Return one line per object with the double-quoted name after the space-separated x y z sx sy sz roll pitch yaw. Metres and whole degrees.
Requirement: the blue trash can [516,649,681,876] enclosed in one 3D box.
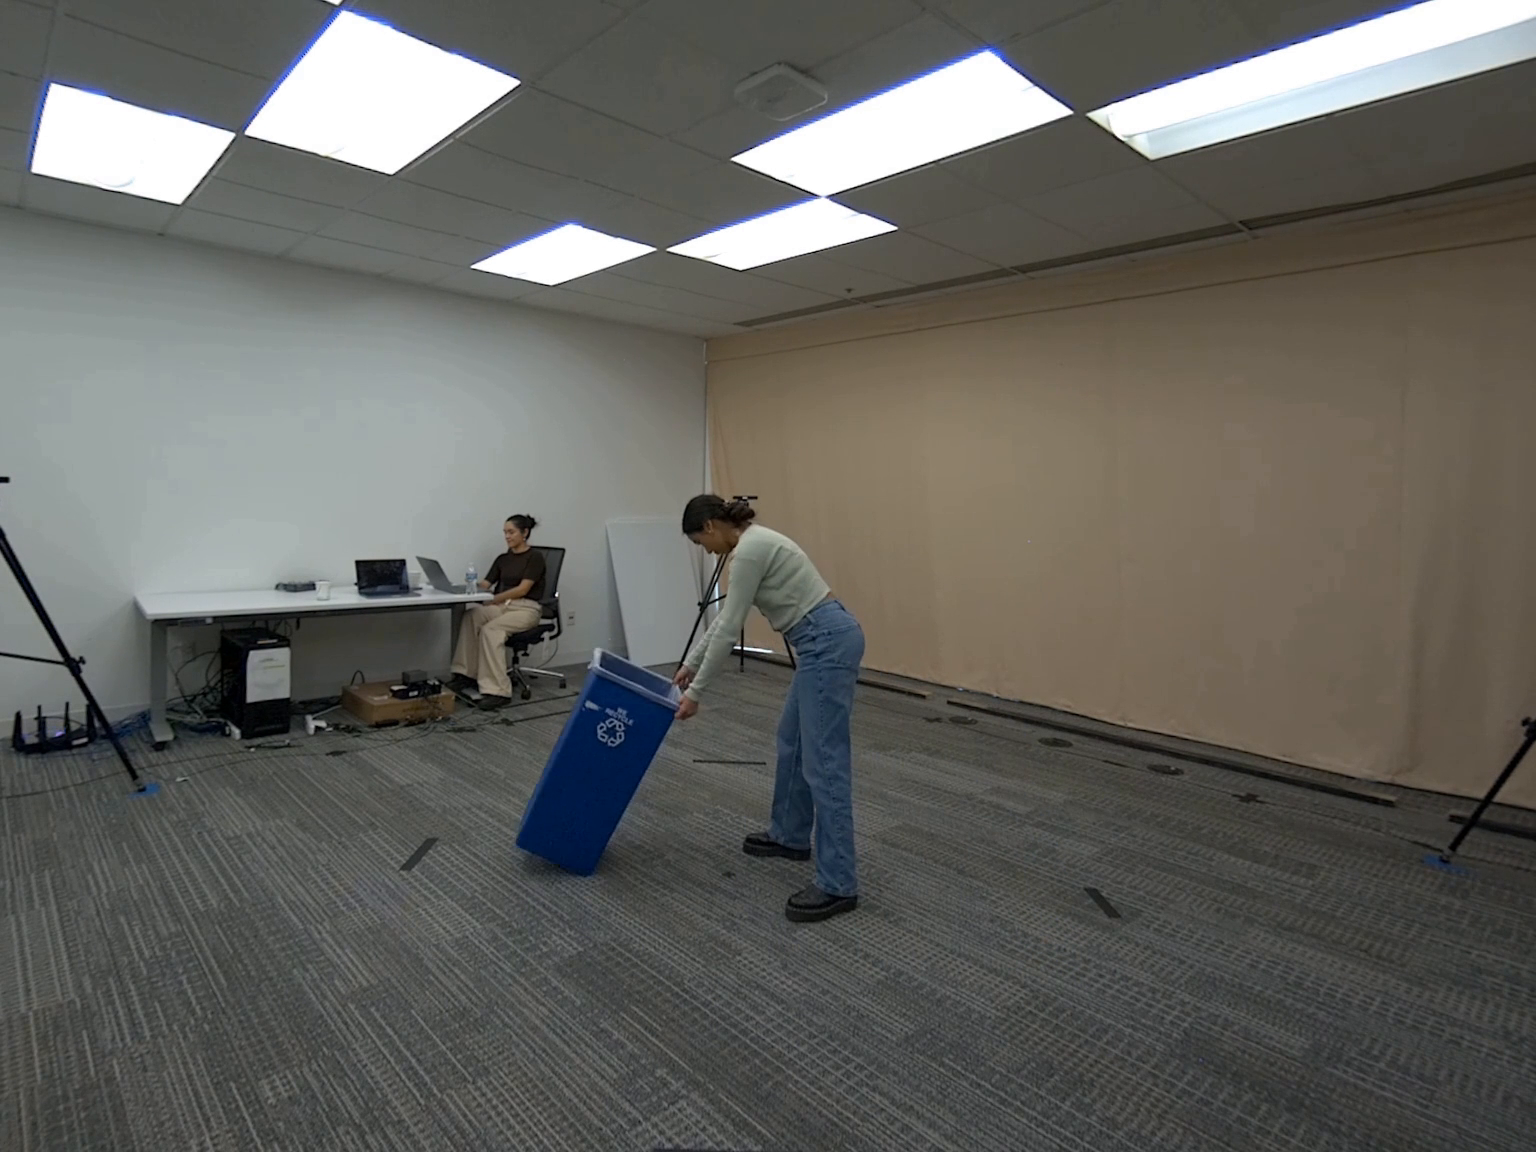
-0.624 0.700 3.187 0.370 0.713 0.382 26 0 -11 "blue trash can"
